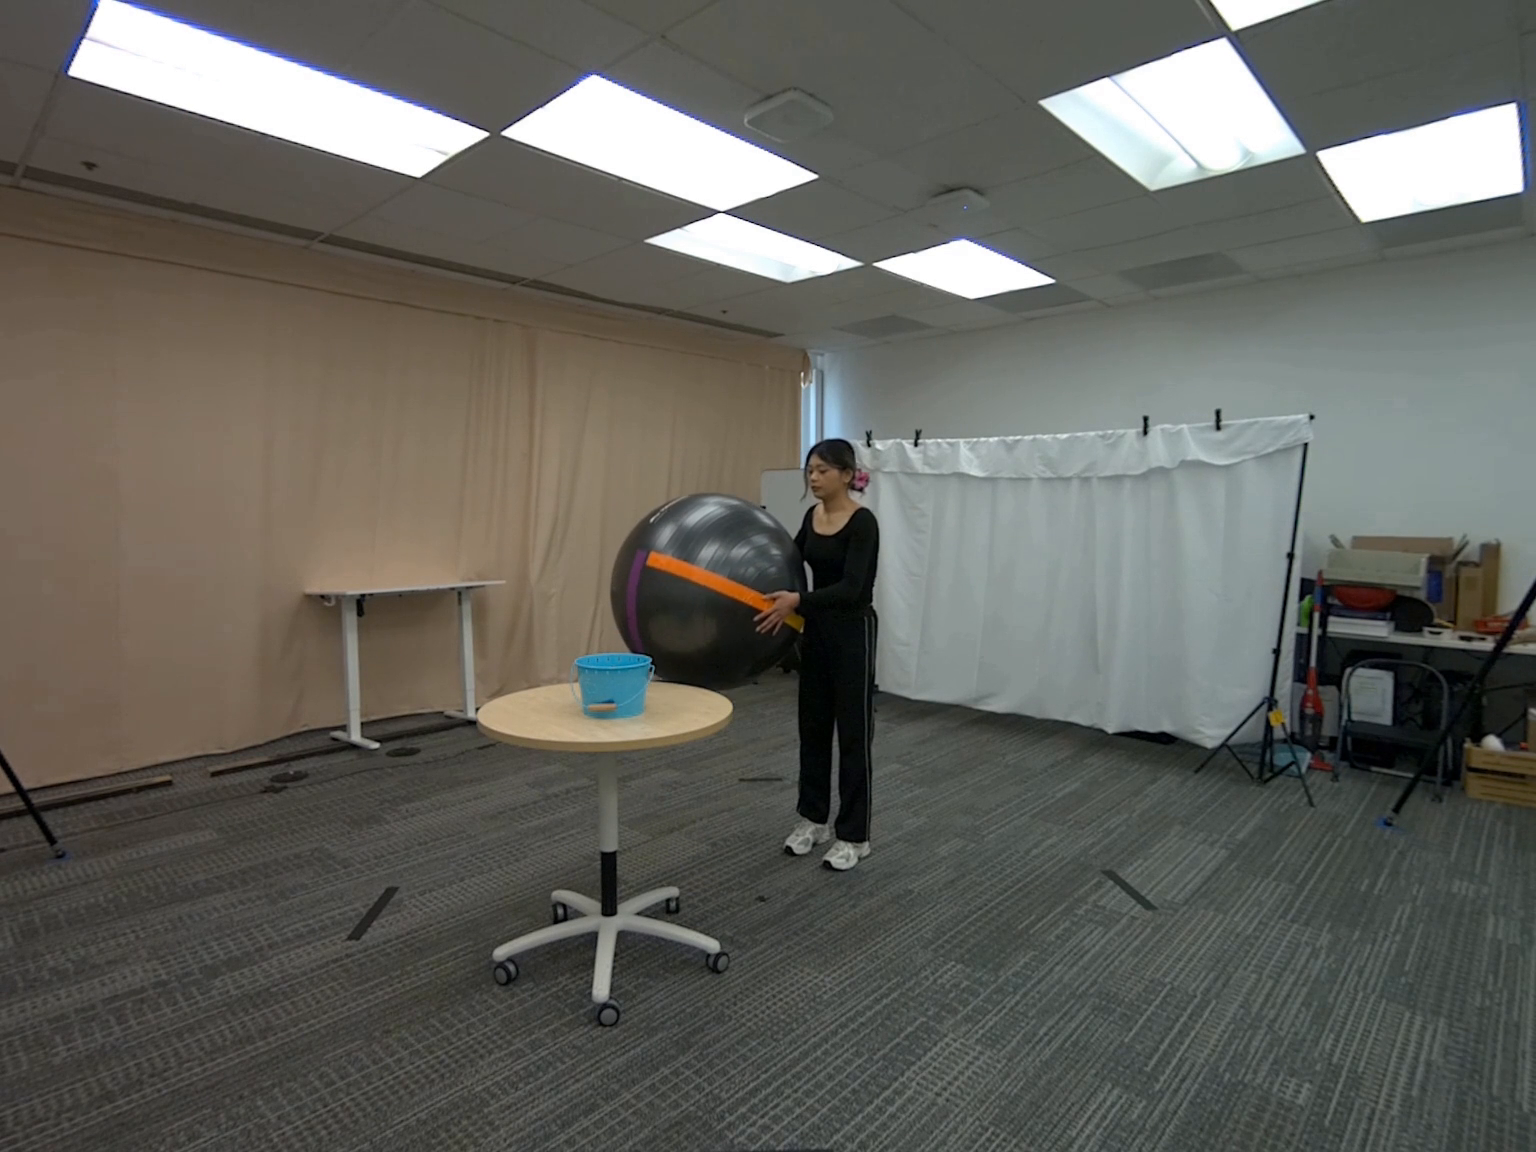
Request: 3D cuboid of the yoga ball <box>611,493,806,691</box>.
[{"bbox_3d":[-0.235,0.067,3.233,0.757,0.756,0.760,0,4,-2],"label":"yoga ball"}]
